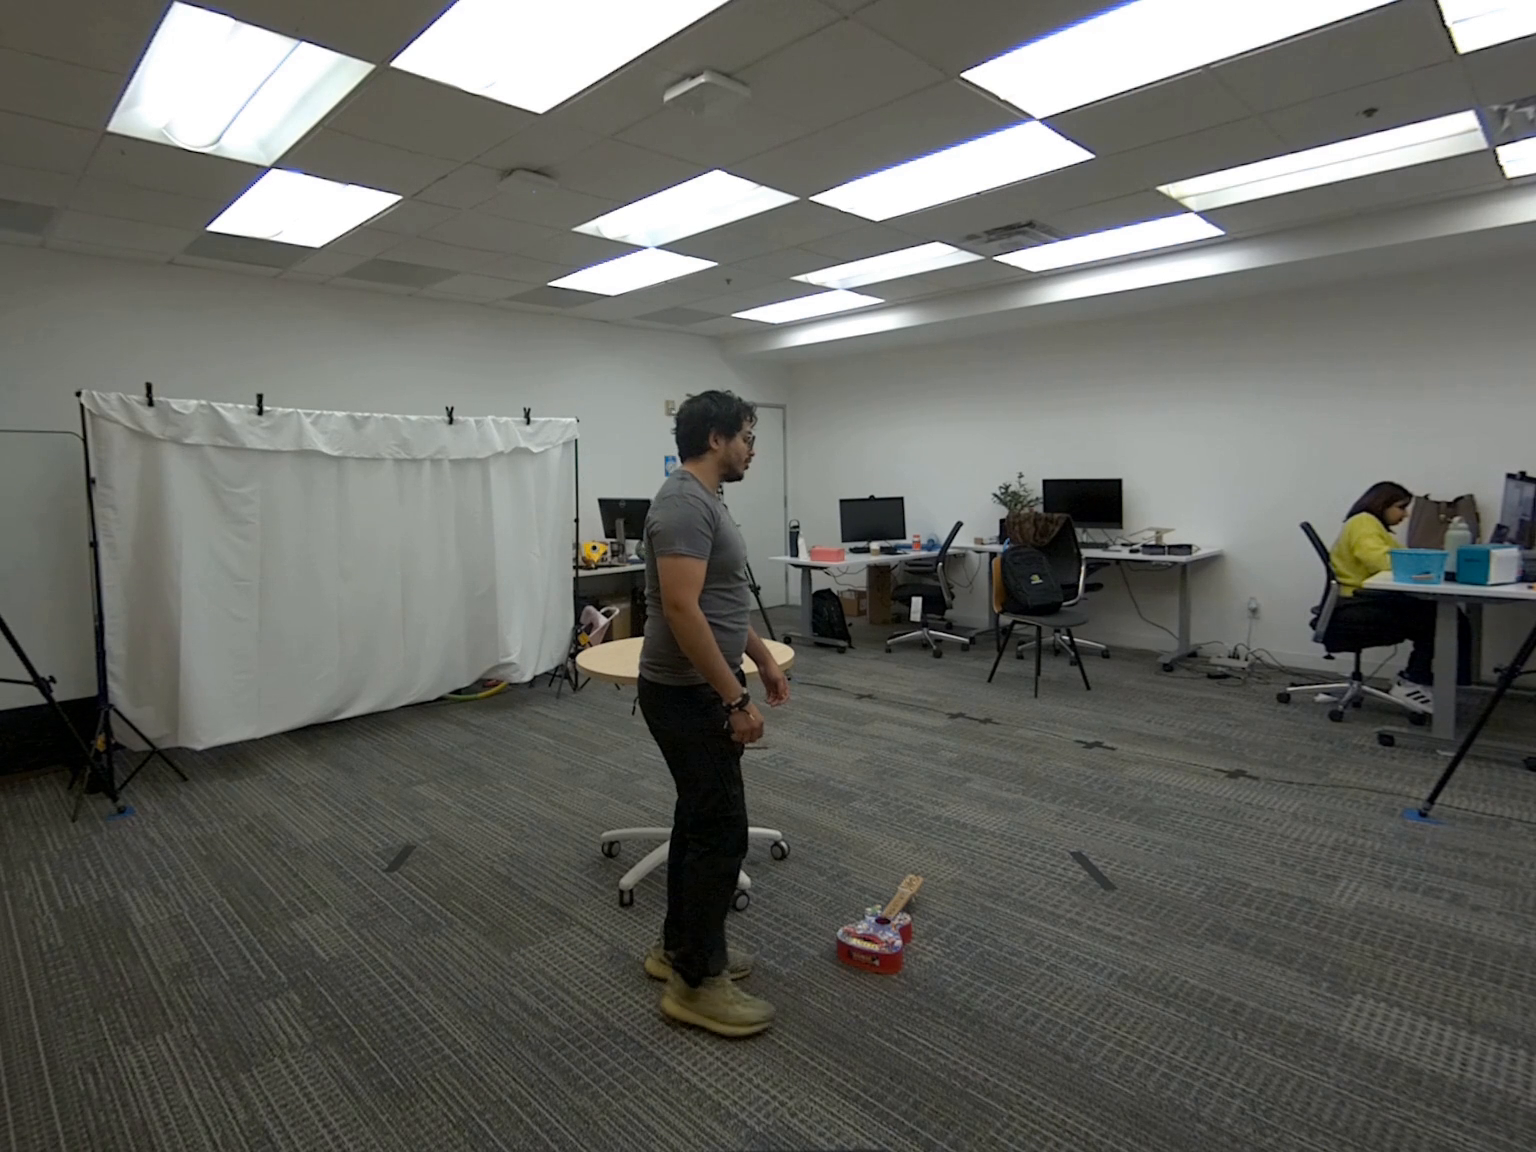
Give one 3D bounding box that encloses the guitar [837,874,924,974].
[{"bbox_3d":[0.411,1.058,2.617,0.199,0.070,0.486,4,9,37],"label":"guitar"}]
